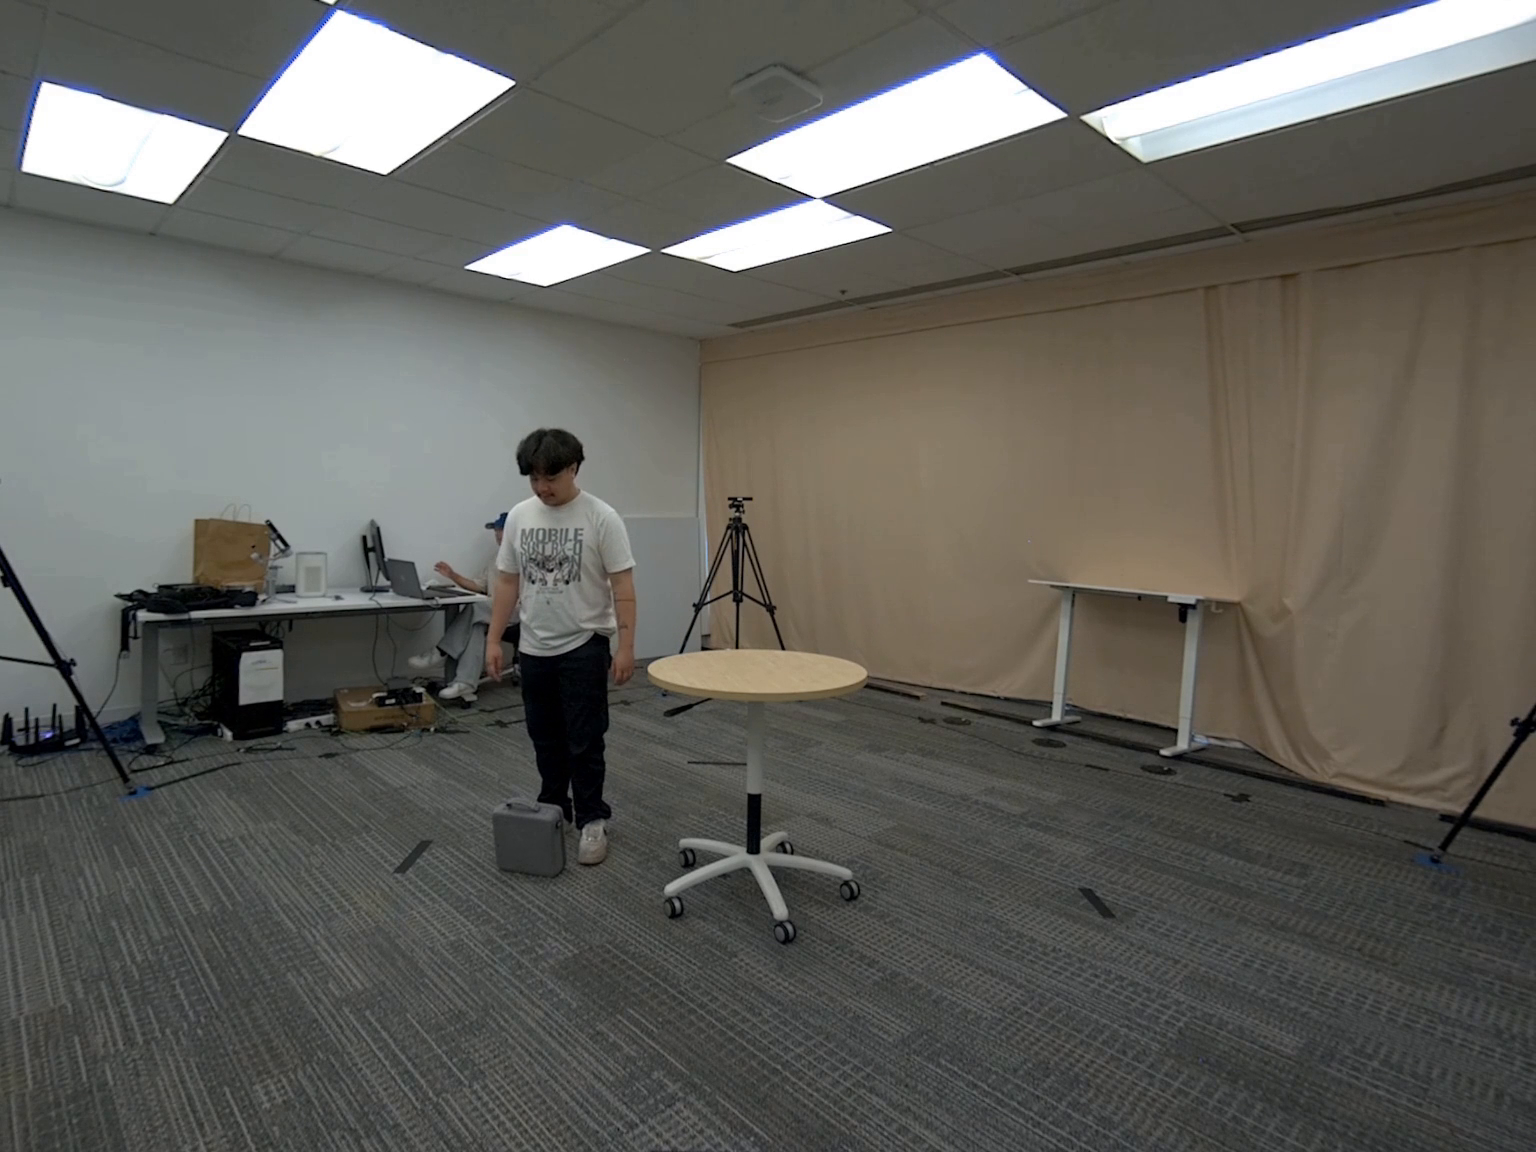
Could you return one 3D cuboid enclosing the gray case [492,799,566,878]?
[{"bbox_3d":[-0.899,0.966,3.095,0.260,0.258,0.104,4,14,15],"label":"gray case"}]
